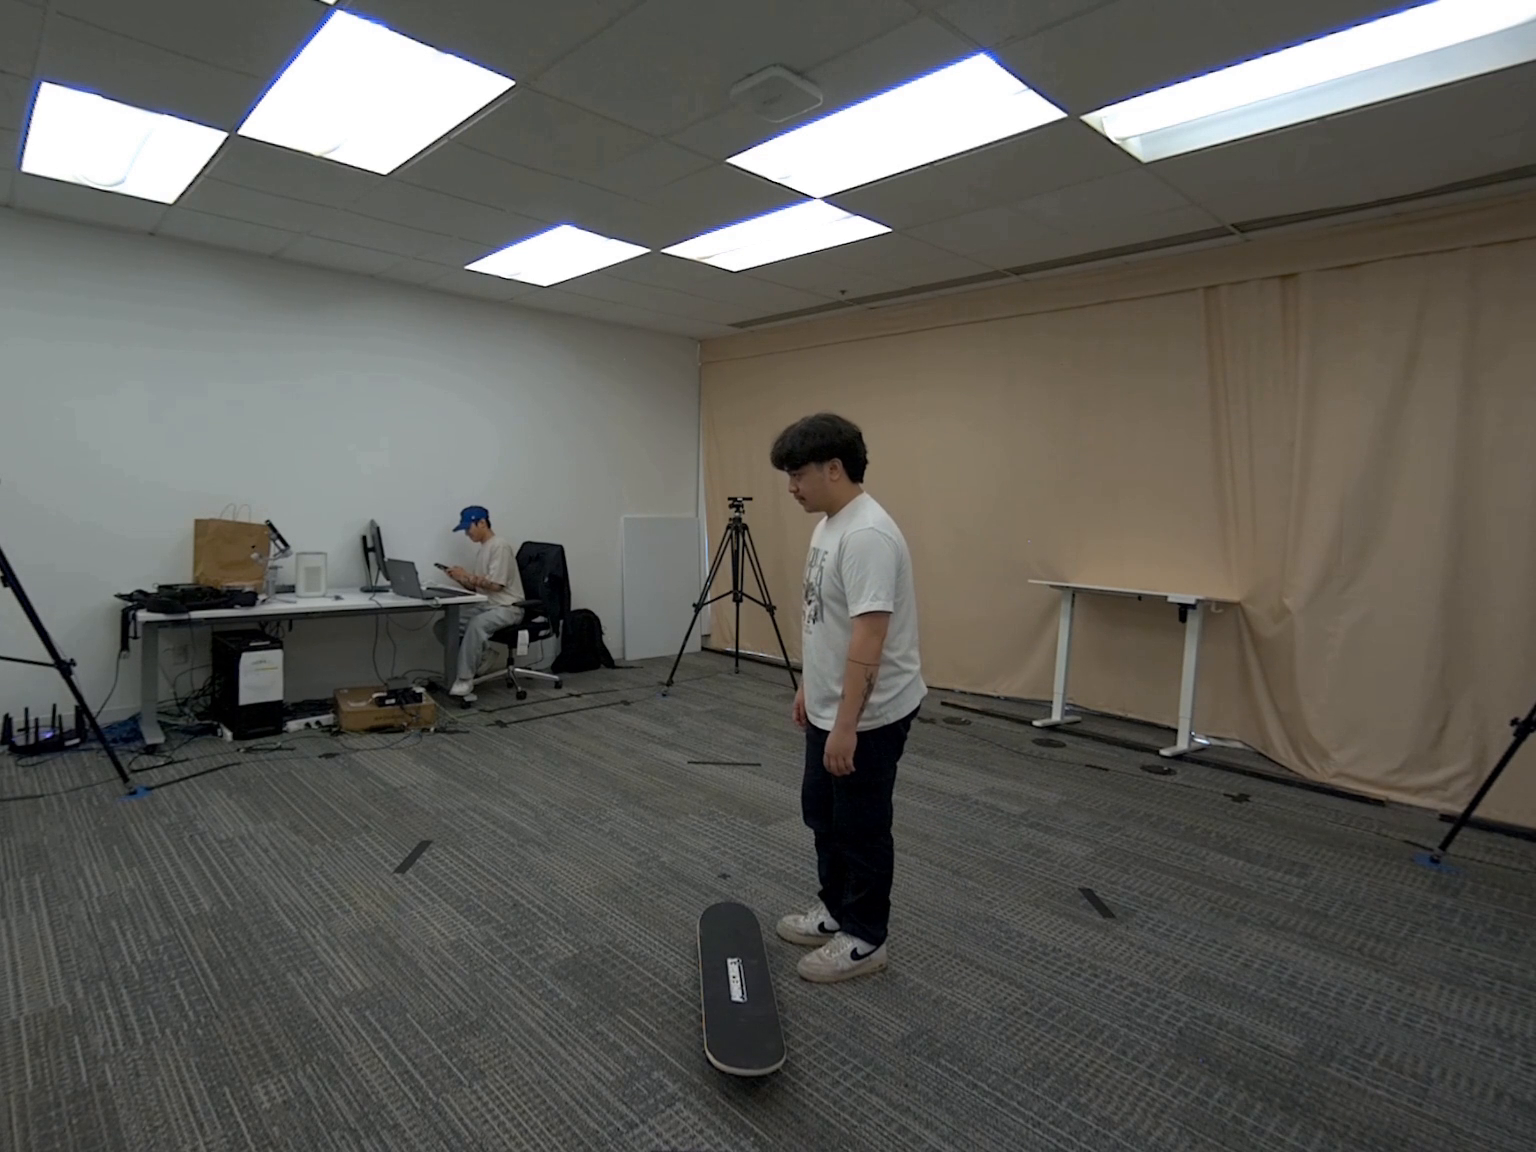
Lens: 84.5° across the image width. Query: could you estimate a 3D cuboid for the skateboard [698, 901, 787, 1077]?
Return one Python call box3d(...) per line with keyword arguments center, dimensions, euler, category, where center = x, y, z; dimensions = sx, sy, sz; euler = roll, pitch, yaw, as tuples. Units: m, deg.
box3d(center=(-0.094, 1.127, 2.287), dimensions=(0.192, 0.110, 0.791), euler=(1, 6, -6), category="skateboard")
